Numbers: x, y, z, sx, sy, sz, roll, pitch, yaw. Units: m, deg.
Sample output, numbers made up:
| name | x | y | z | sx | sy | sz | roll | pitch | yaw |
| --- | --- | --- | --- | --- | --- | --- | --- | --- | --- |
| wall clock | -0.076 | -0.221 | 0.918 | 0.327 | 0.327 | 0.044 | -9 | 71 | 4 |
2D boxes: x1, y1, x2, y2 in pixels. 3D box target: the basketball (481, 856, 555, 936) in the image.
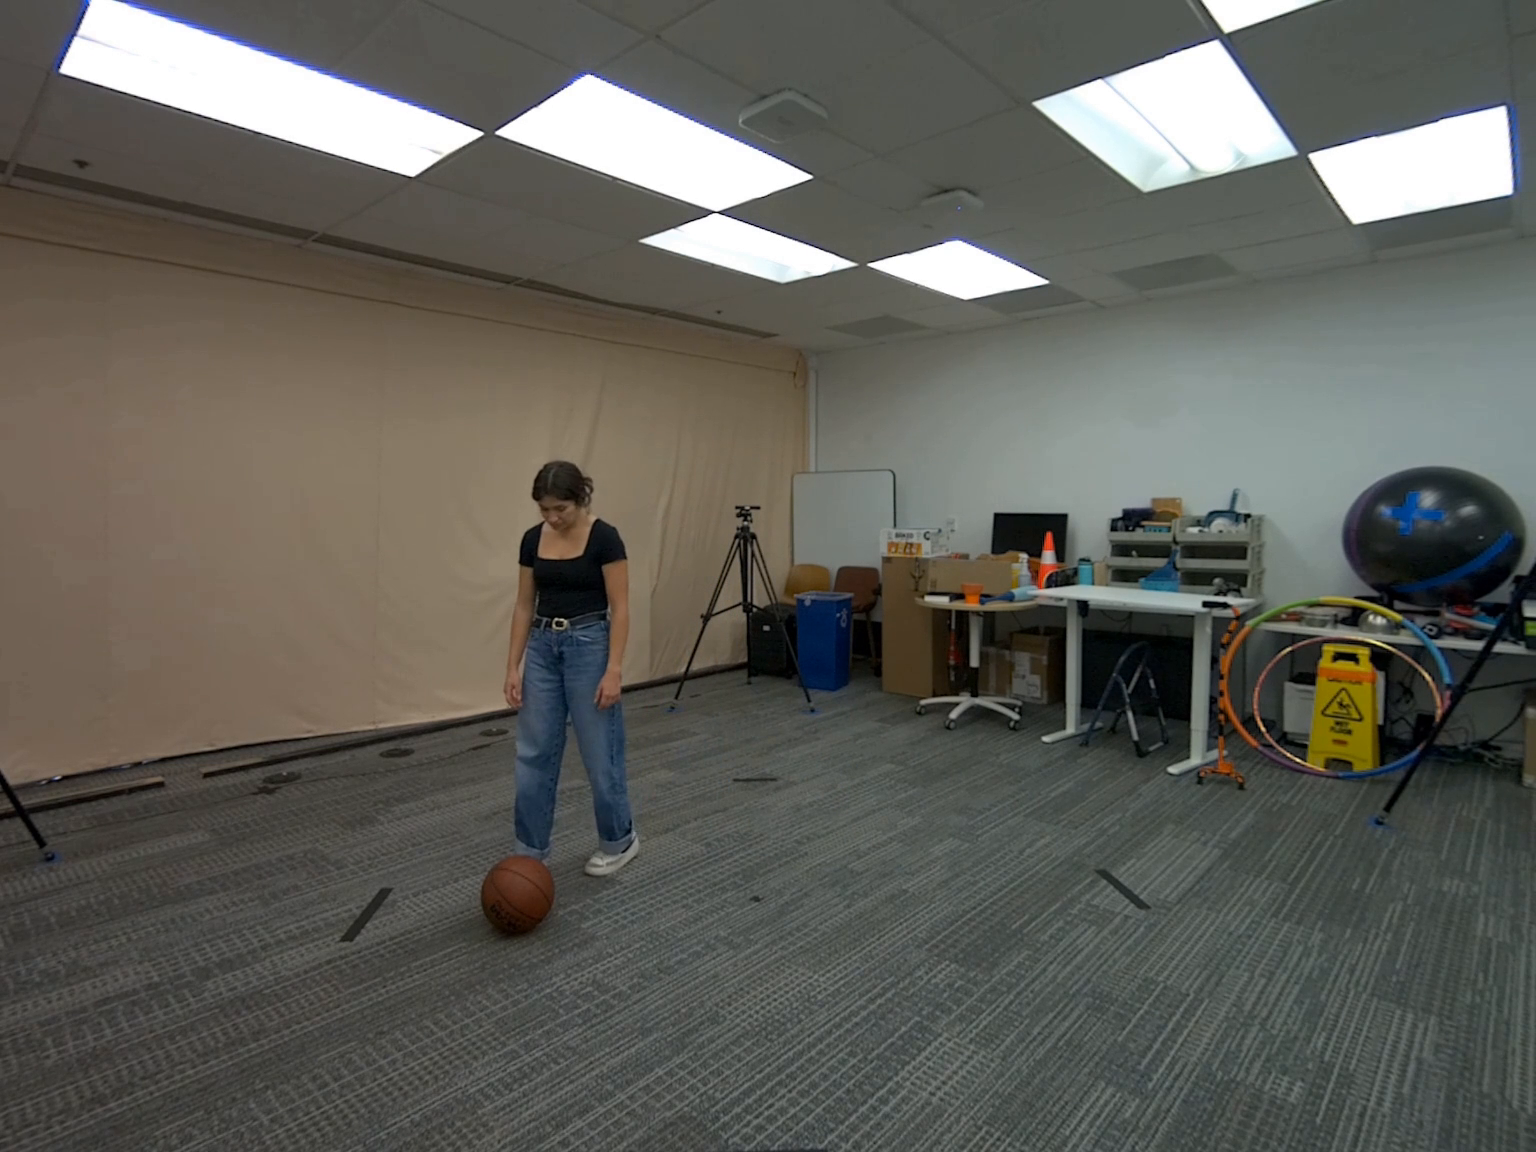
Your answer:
| name | x | y | z | sx | sy | sz | roll | pitch | yaw |
| --- | --- | --- | --- | --- | --- | --- | --- | --- | --- |
| basketball | -0.827 | 1.045 | 2.773 | 0.236 | 0.235 | 0.237 | 0 | 4 | -2 |
